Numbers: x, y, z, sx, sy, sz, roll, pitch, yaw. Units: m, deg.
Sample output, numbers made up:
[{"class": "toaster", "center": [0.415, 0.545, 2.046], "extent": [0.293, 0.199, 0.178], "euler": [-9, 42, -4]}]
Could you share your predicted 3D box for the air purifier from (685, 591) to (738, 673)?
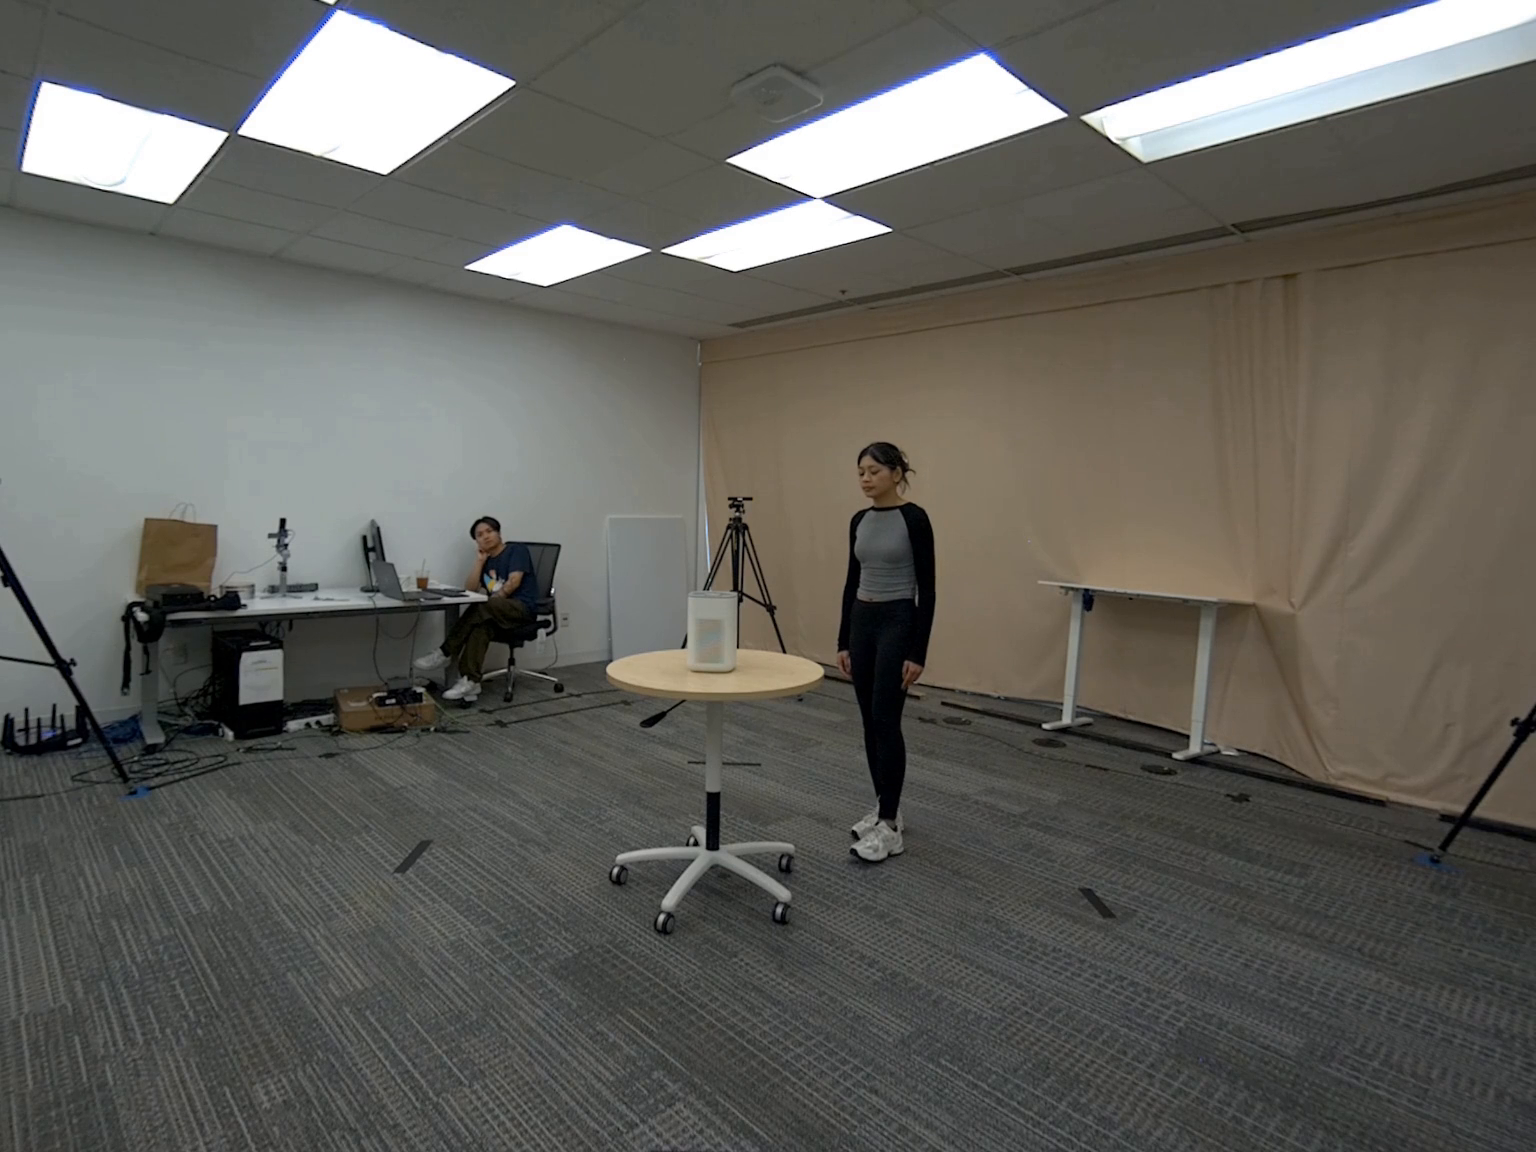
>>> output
[{"class": "air purifier", "center": [-0.201, 0.196, 2.942], "extent": [0.171, 0.264, 0.172], "euler": [2, 5, -1]}]
